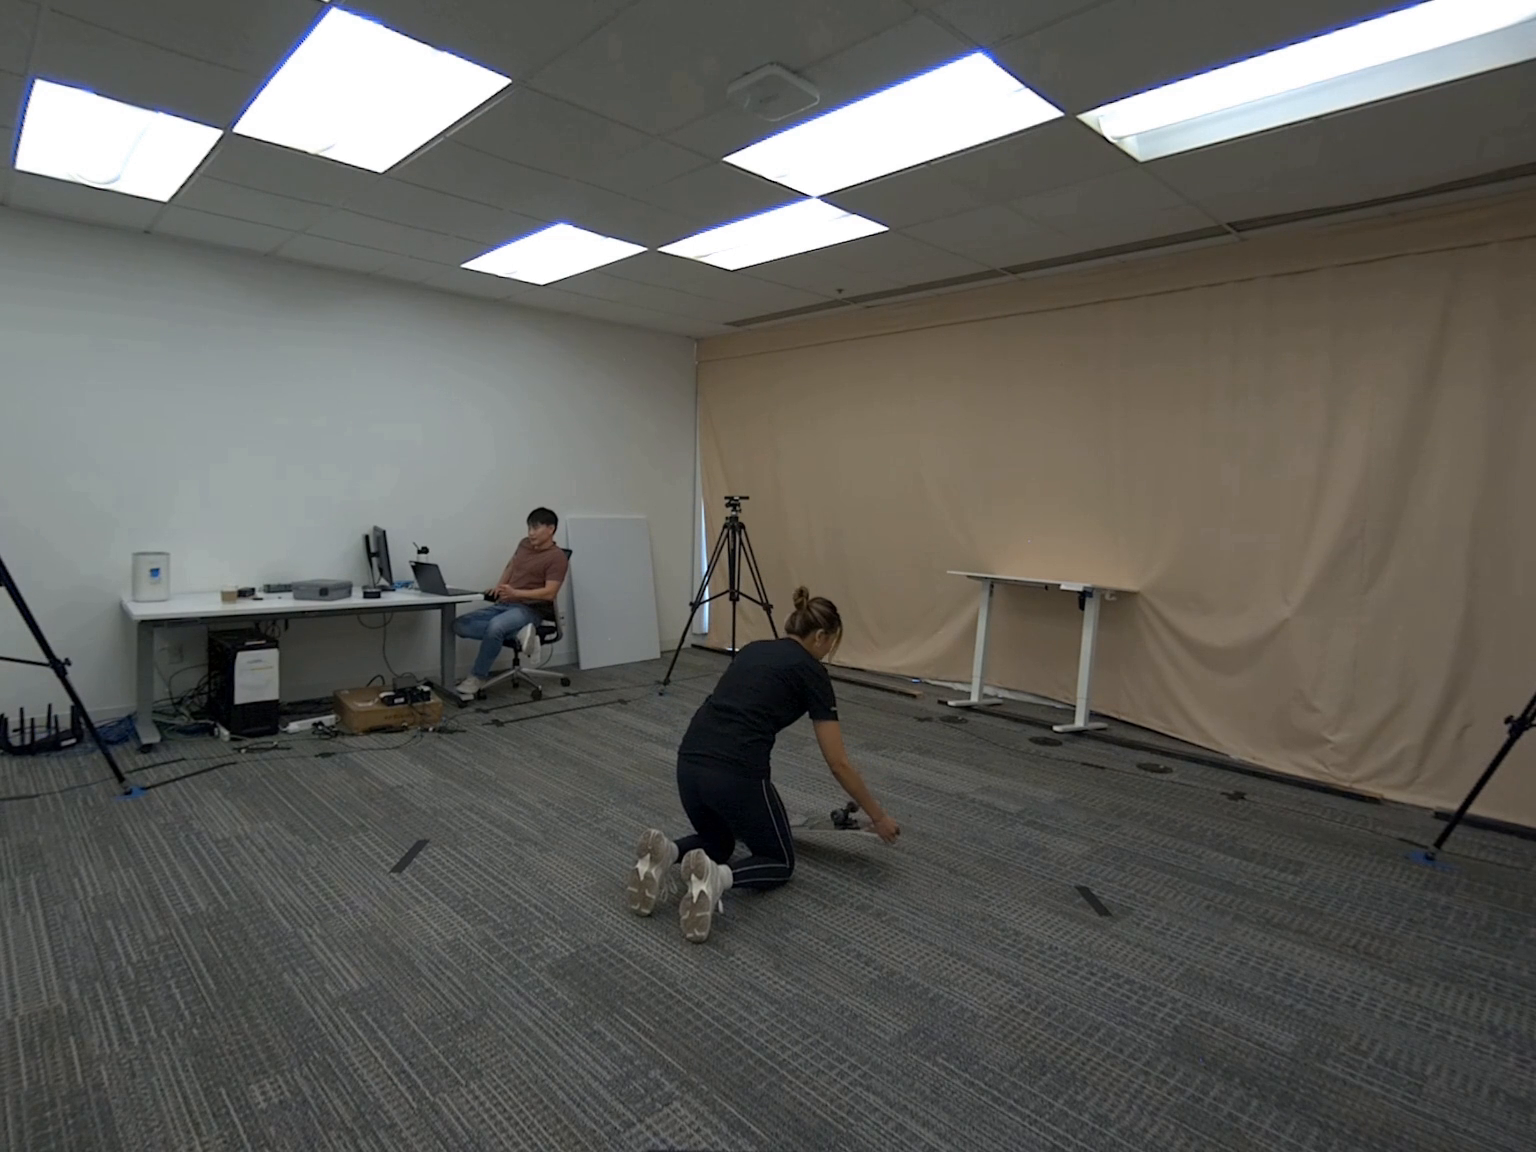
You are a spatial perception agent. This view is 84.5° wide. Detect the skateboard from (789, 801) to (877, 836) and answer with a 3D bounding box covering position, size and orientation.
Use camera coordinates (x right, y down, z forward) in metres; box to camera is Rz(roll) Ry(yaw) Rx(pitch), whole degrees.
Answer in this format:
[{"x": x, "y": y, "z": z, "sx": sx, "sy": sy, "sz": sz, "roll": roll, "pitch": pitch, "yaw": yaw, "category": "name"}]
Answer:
[{"x": 0.122, "y": 0.965, "z": 3.362, "sx": 0.800, "sy": 0.111, "sz": 0.189, "roll": -7, "pitch": -4, "yaw": 30, "category": "skateboard"}]
